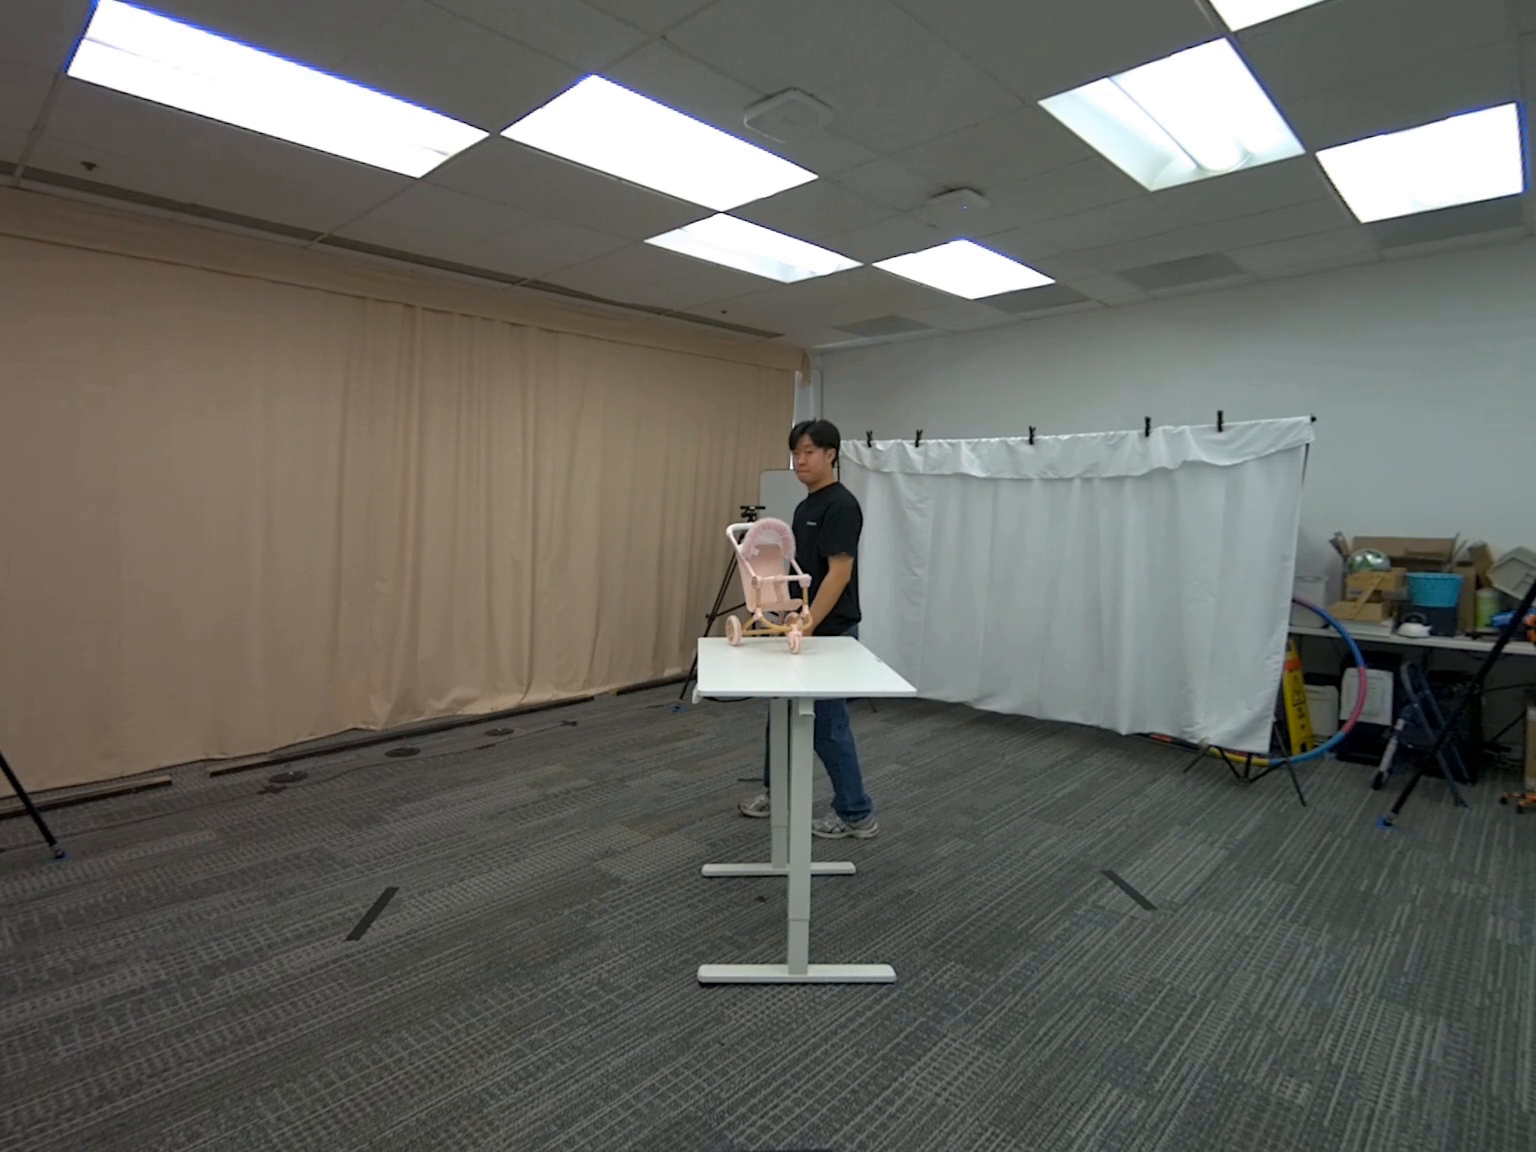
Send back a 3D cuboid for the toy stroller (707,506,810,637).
[{"bbox_3d":[0.018,0.031,3.055,0.276,0.539,0.345,-2,-10,-19],"label":"toy stroller"}]
